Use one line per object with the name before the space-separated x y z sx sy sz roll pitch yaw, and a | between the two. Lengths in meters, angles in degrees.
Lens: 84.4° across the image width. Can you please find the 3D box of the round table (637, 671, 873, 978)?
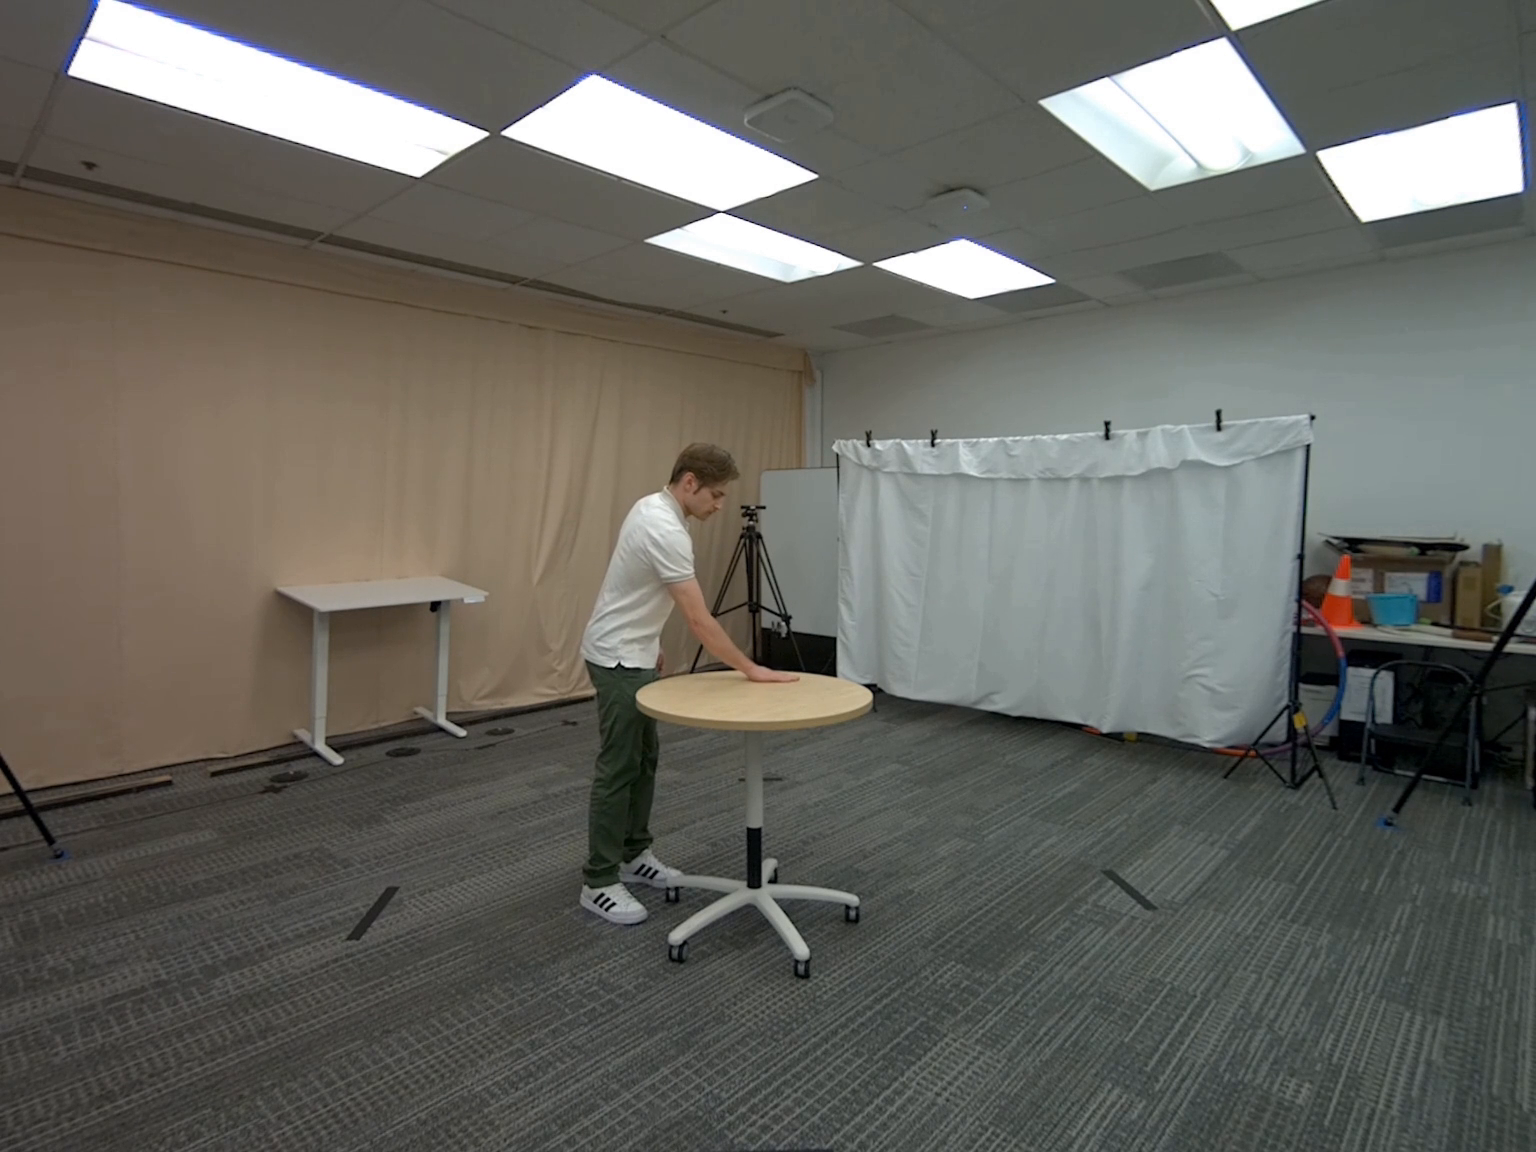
round table | -0.036 0.771 2.744 0.784 0.785 0.788 -1 3 -2
